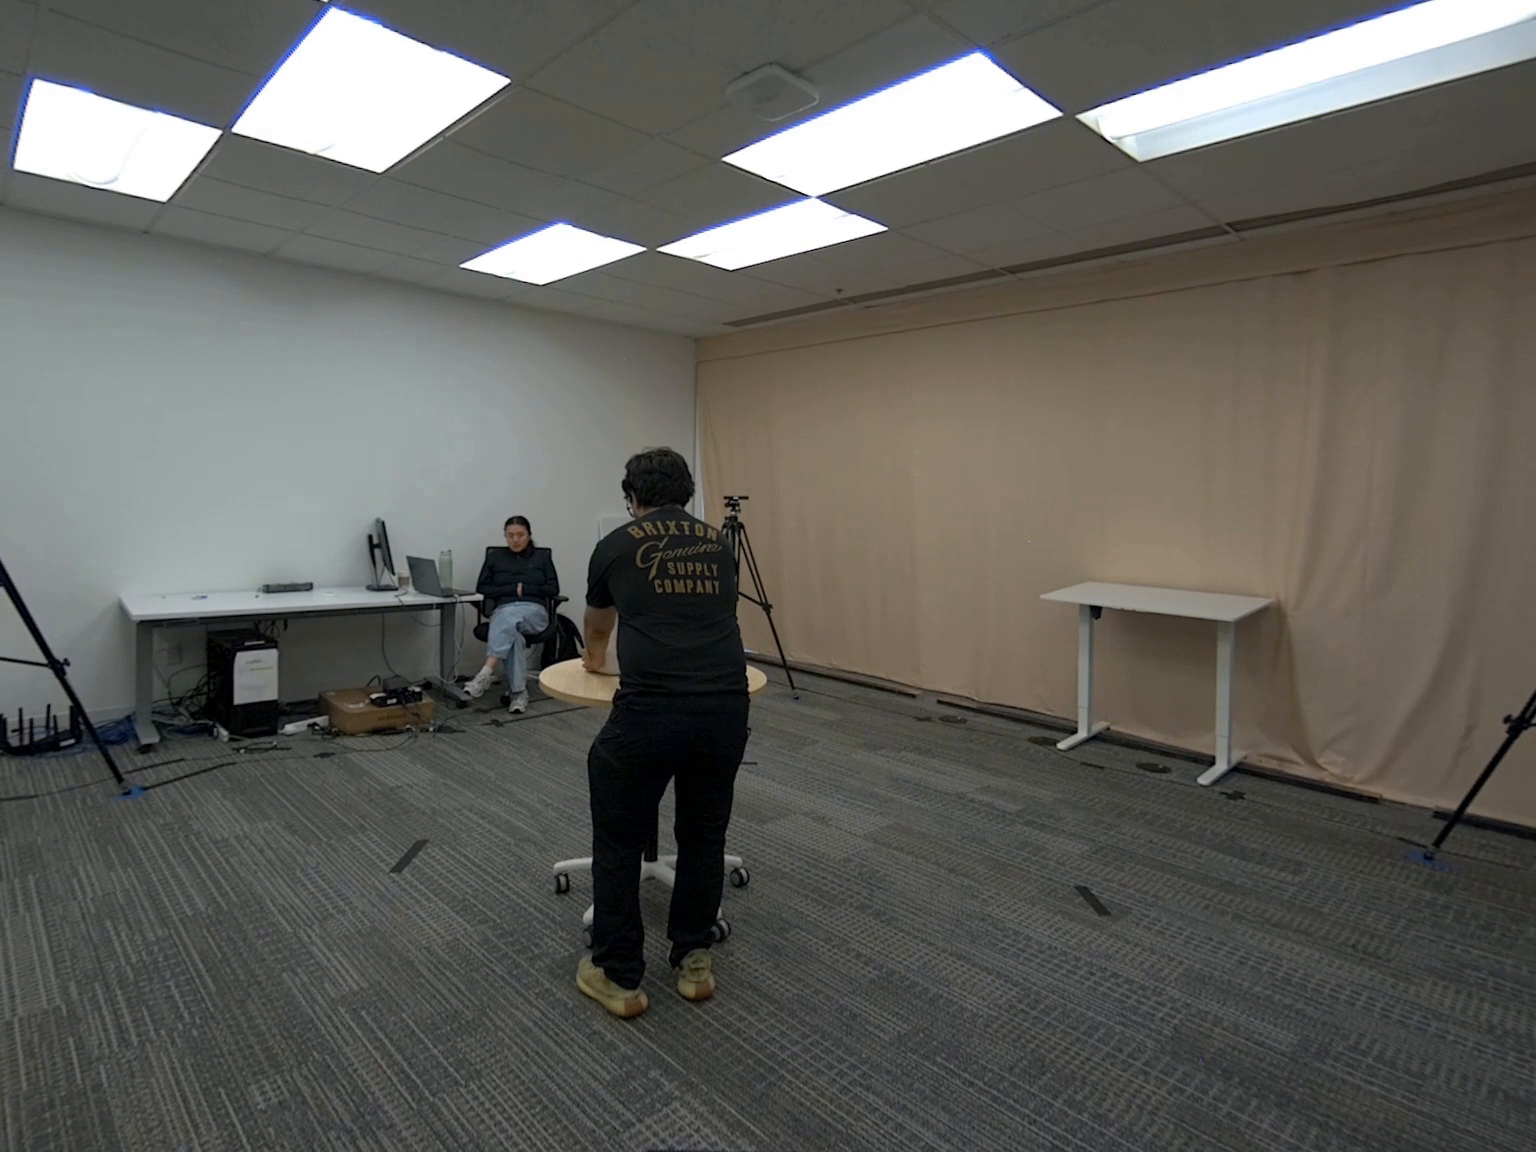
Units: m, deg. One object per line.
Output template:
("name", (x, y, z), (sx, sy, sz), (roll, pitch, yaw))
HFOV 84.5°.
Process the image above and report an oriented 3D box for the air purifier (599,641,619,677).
("air purifier", (-0.524, 0.199, 2.896), (0.176, 0.265, 0.167), (4, 5, 39))
